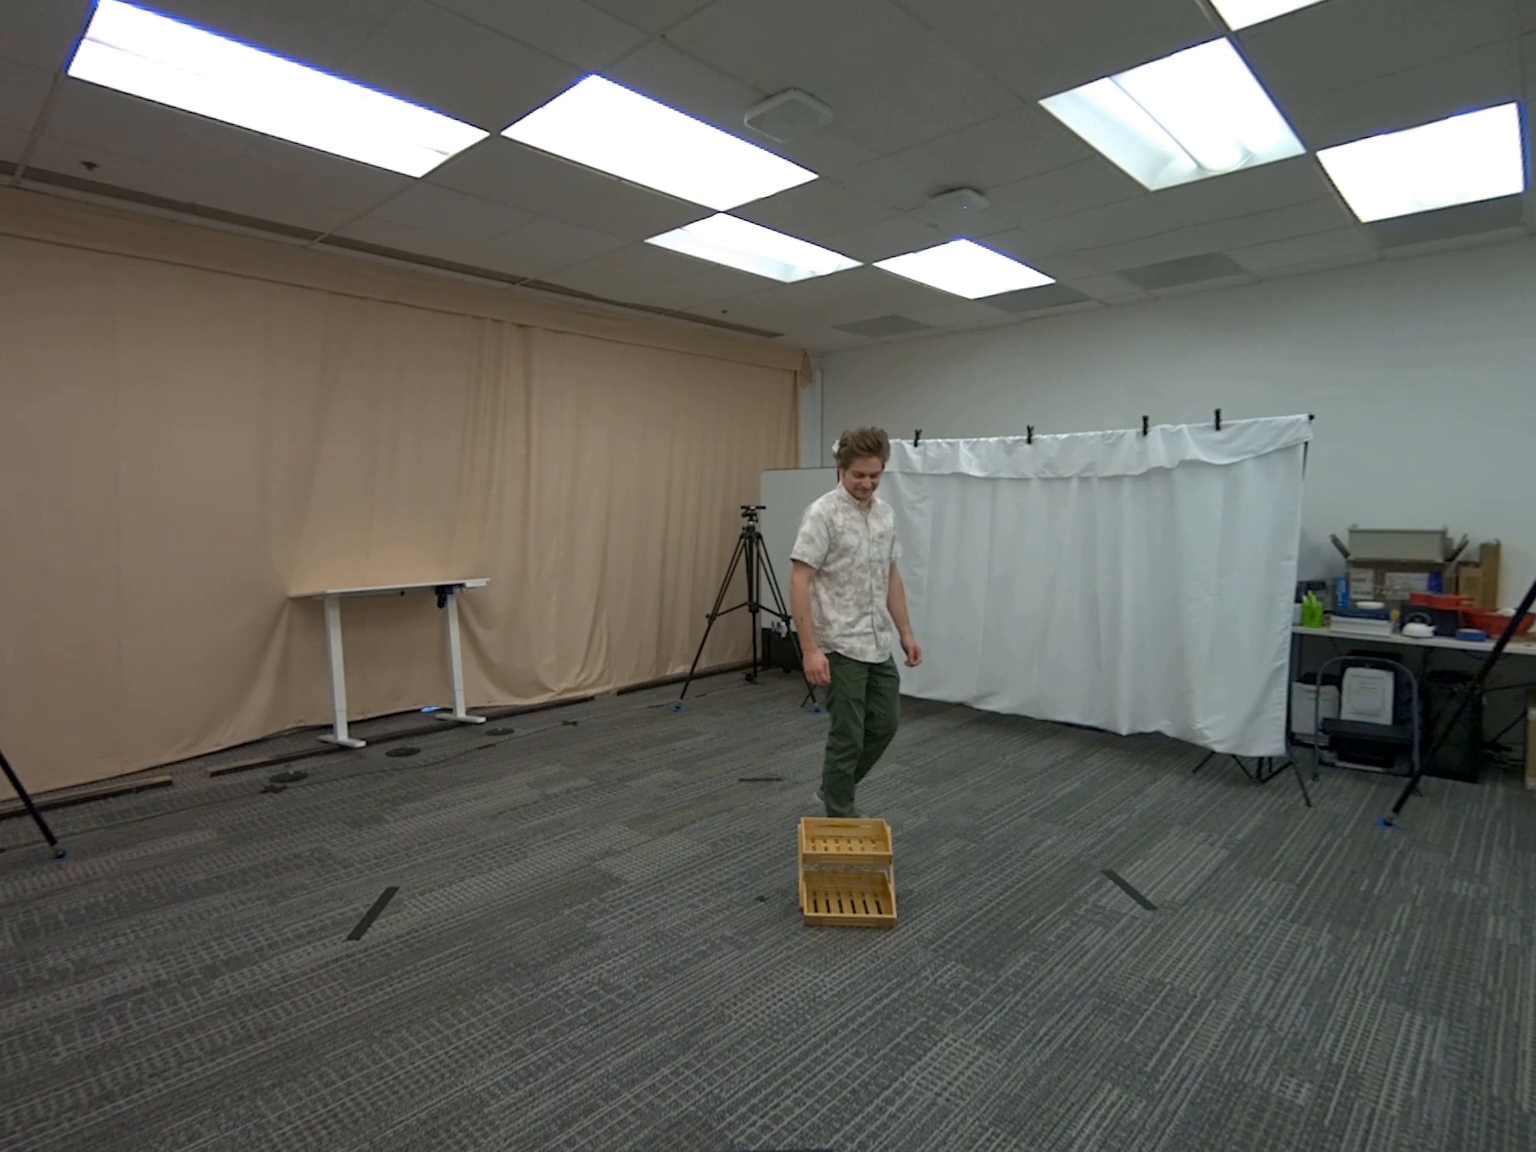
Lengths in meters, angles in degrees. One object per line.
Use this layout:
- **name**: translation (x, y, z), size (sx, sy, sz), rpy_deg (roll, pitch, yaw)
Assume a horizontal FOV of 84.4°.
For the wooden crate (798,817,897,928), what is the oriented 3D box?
- **wooden crate**: translation (0.277, 1.018, 2.898), size (0.325, 0.272, 0.302), rpy_deg (0, 5, 1)
